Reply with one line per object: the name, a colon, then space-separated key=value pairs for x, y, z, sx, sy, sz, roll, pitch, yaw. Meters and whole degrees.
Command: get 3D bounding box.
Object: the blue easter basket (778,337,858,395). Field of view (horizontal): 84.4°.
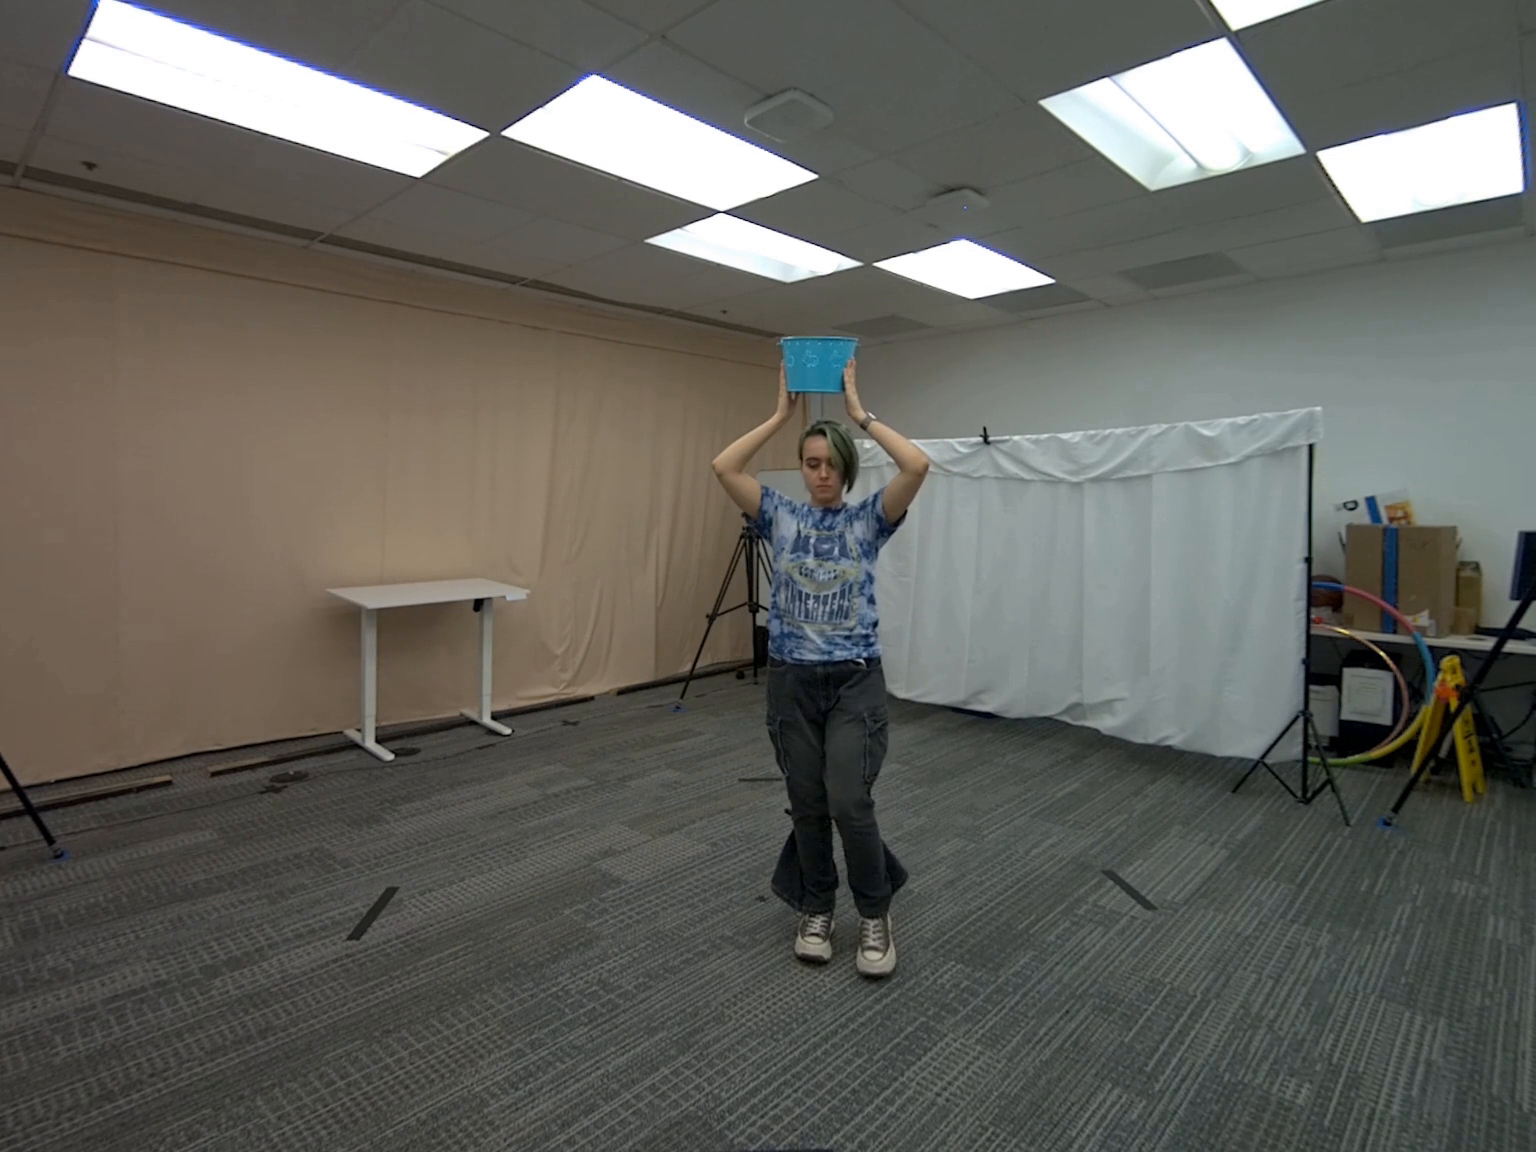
blue easter basket: x=0.166 y=-0.629 z=2.505 sx=0.243 sy=0.155 sz=0.245 roll=0 pitch=11 yaw=-2
